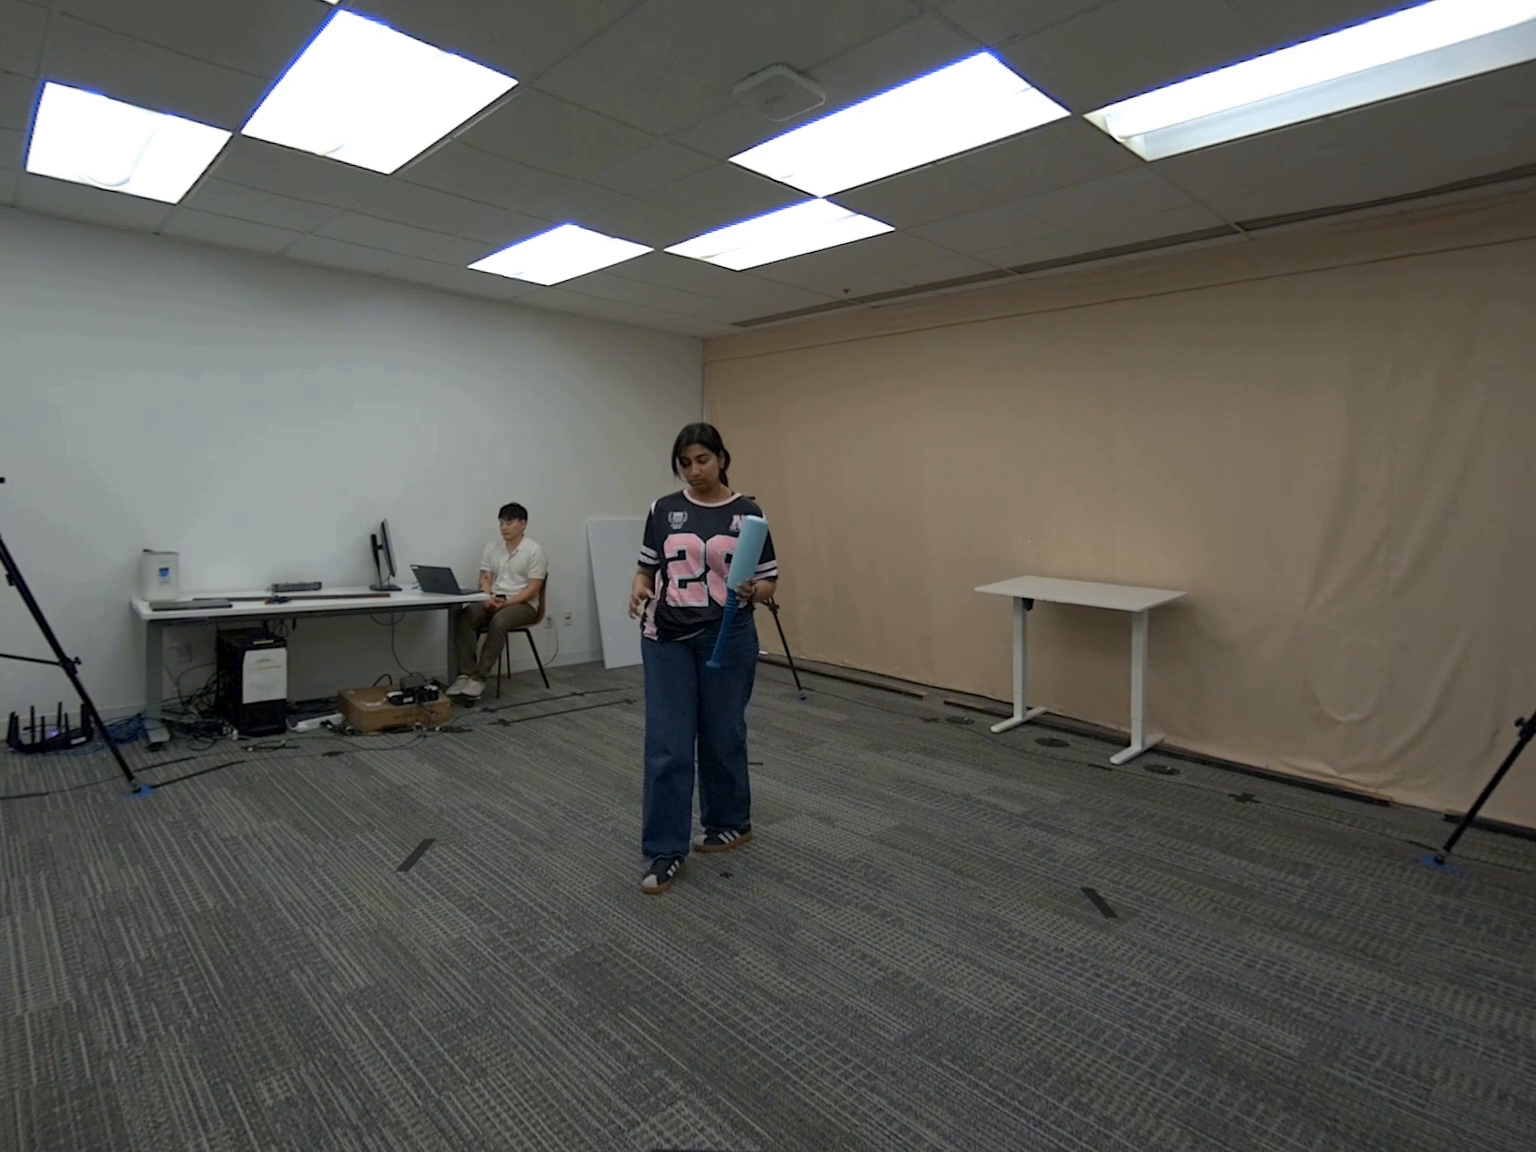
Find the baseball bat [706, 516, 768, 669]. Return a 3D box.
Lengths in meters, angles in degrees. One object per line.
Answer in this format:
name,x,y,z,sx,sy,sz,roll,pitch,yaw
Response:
baseball bat,-0.123,0.065,2.815,0.089,0.541,0.090,17,9,-4
